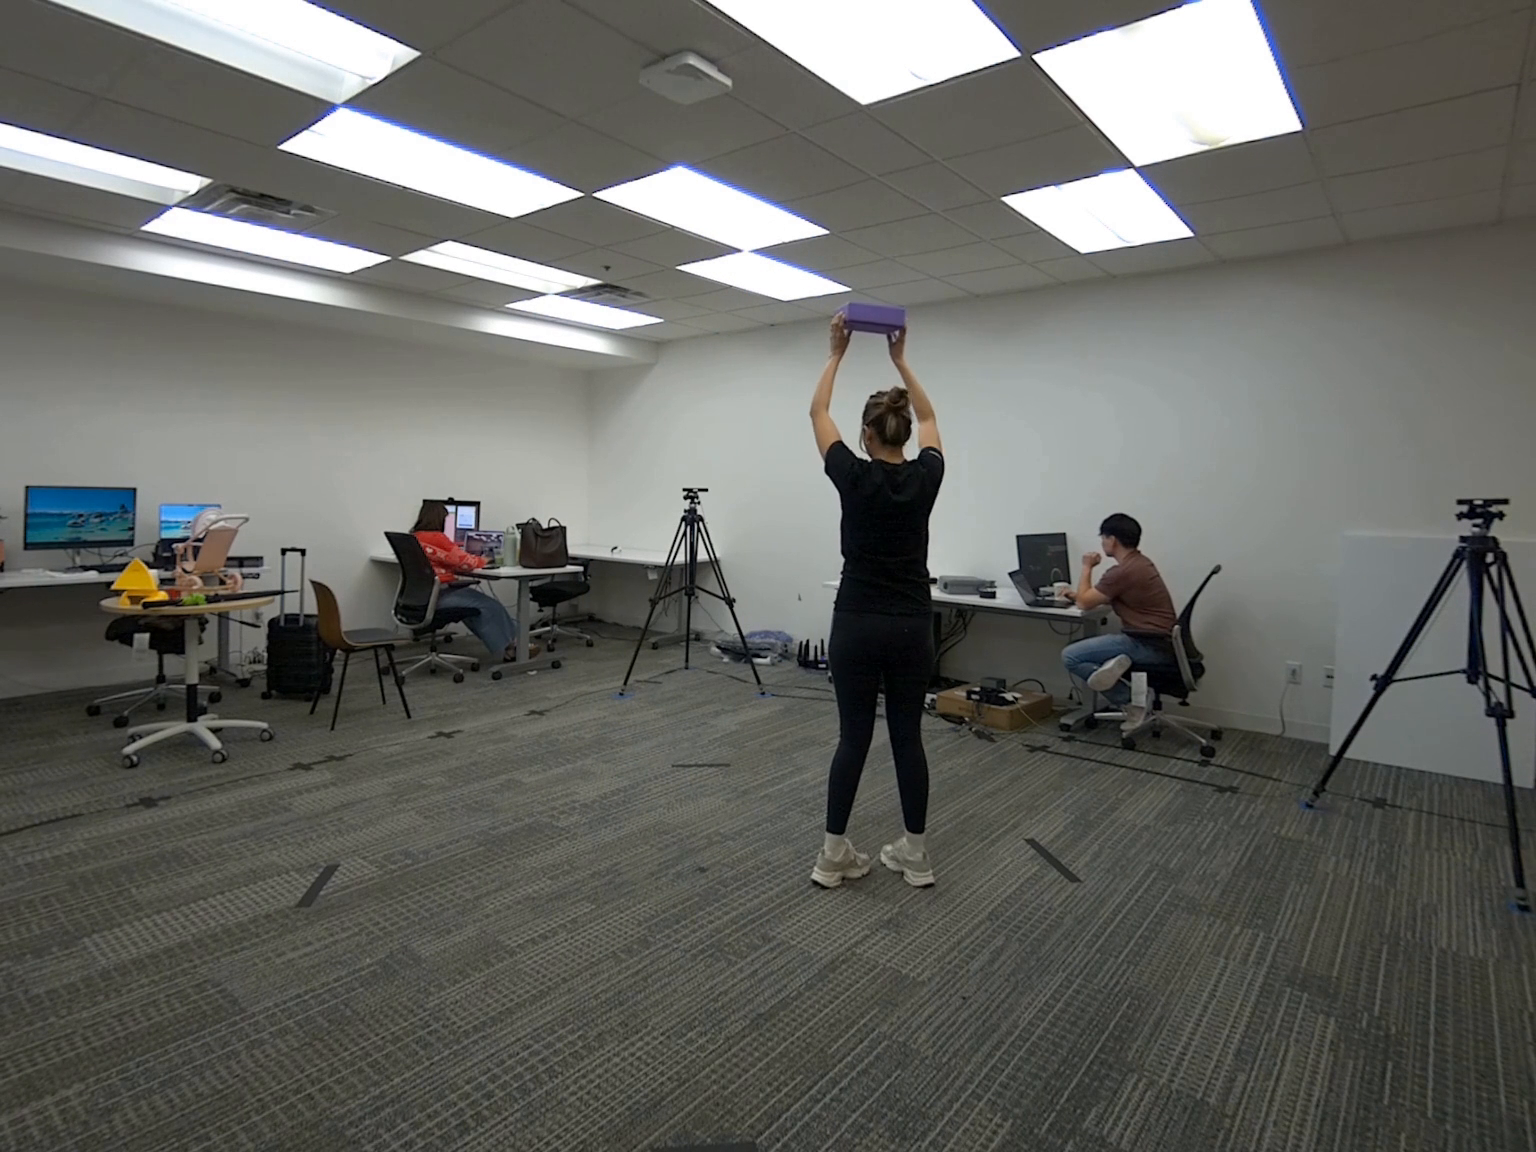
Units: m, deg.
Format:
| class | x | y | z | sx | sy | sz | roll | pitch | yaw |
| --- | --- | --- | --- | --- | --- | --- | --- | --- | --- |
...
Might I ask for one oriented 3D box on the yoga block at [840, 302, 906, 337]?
| class | x | y | z | sx | sy | sz | roll | pitch | yaw |
| --- | --- | --- | --- | --- | --- | --- | --- | --- | --- |
| yoga block | 0.378 | -0.975 | 3.190 | 0.226 | 0.076 | 0.152 | 2 | 5 | -14 |
